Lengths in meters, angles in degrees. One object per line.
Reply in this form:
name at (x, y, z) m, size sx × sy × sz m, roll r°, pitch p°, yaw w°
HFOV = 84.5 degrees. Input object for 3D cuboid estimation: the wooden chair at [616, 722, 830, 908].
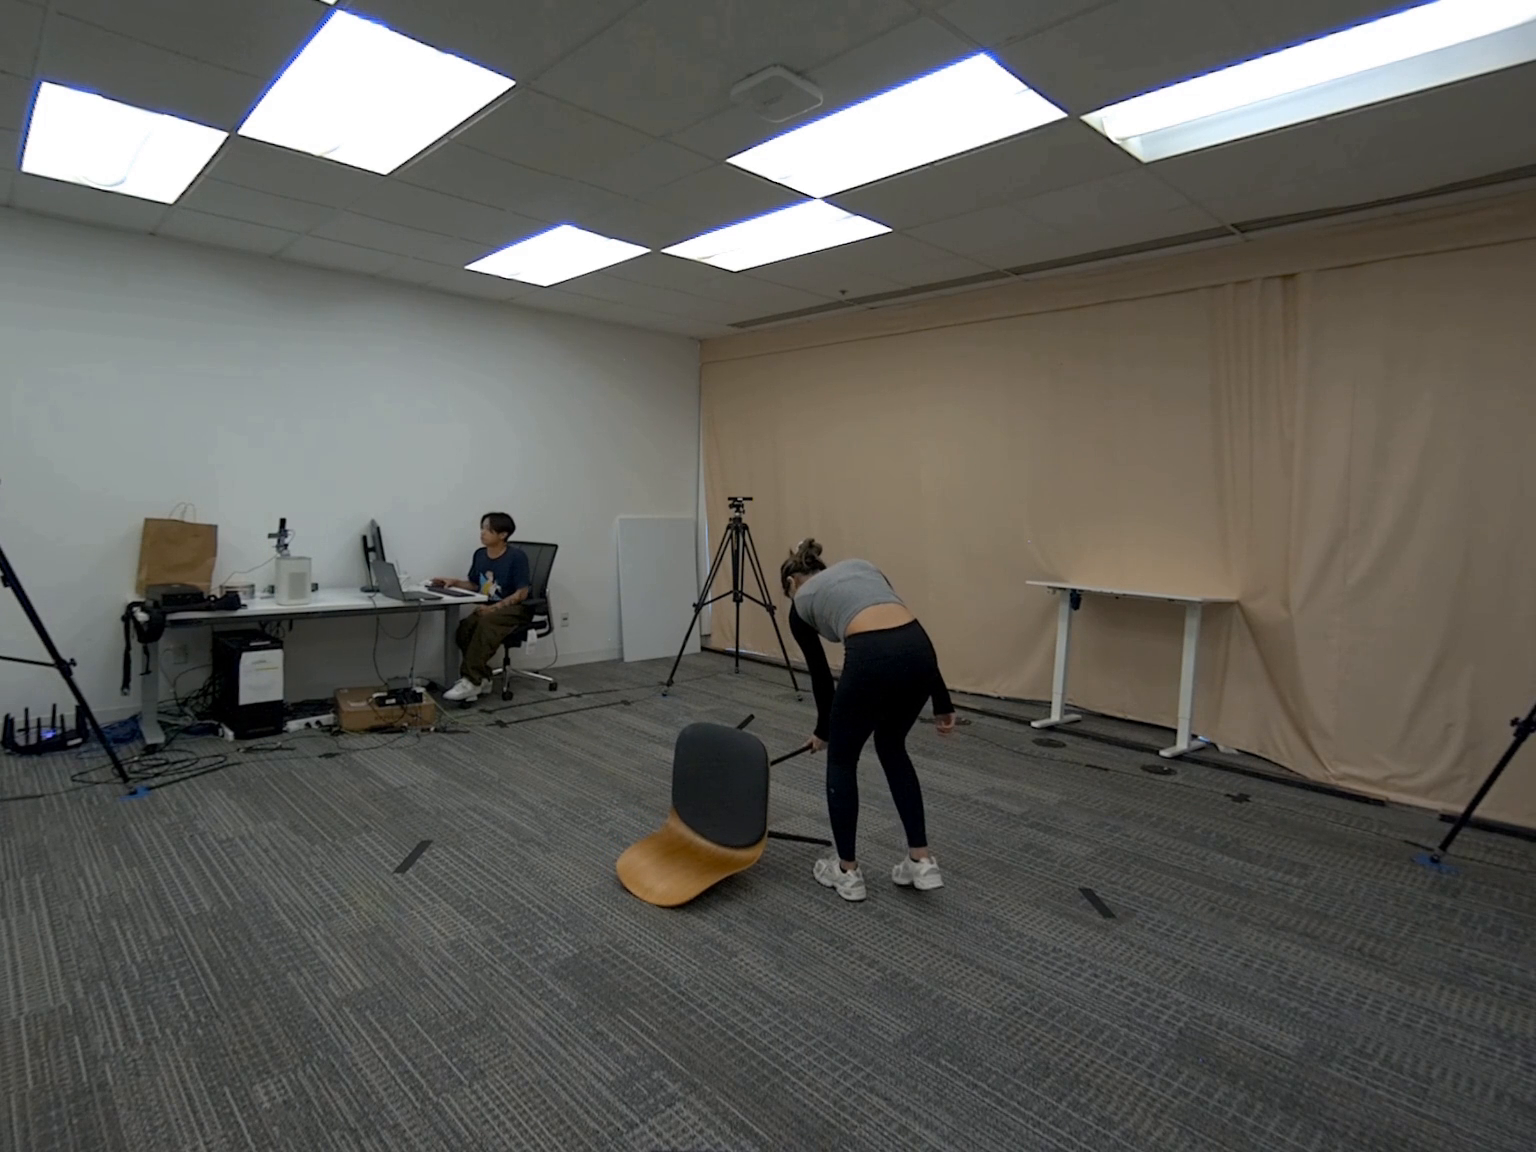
wooden chair at (-0.166, 0.839, 3.219) m, size 0.490 × 0.521 × 0.859 m, roll 5°, pitch 7°, yaw 38°
